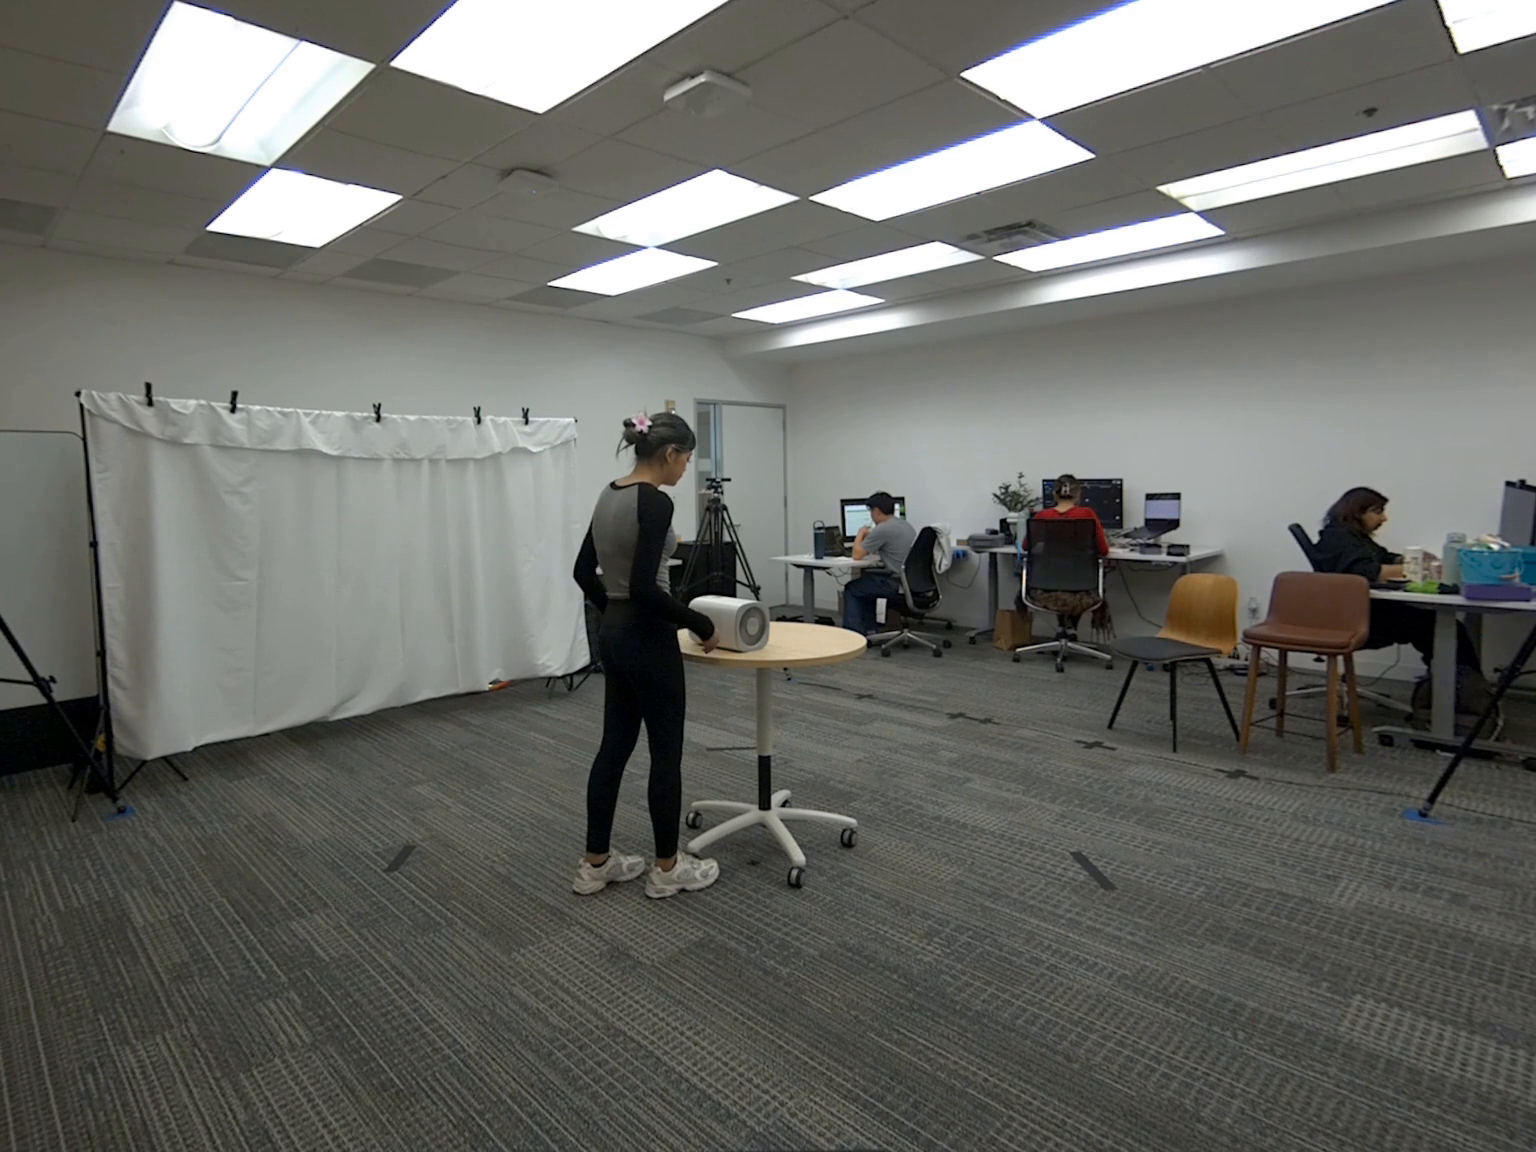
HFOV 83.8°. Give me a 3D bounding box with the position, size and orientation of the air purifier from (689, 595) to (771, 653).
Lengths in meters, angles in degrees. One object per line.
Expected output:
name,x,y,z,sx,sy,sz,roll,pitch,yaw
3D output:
air purifier,-0.145,0.164,3.073,0.273,0.171,0.166,4,7,43
